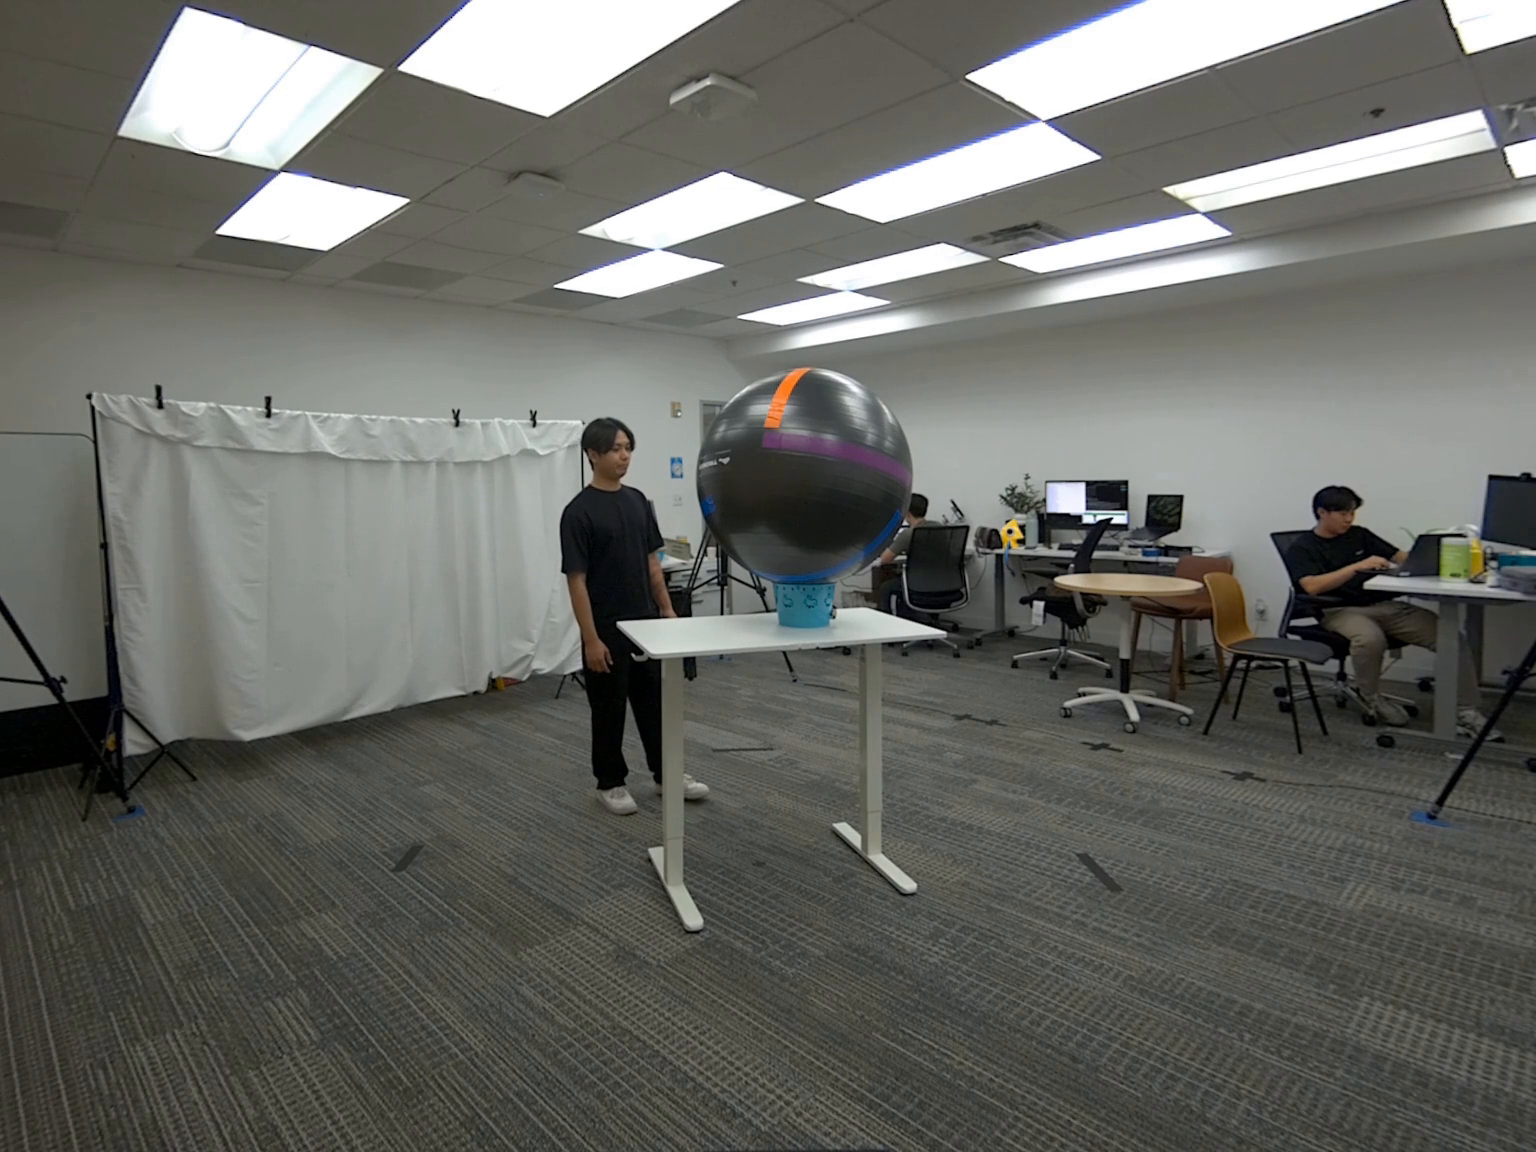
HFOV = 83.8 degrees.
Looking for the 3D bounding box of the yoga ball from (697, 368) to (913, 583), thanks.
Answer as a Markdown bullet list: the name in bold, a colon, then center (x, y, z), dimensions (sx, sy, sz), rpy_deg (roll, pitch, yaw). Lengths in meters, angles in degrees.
- **yoga ball**: center (0.123, -0.342, 3.012), dimensions (0.757, 0.755, 0.762), rpy_deg (-1, 5, -2)
